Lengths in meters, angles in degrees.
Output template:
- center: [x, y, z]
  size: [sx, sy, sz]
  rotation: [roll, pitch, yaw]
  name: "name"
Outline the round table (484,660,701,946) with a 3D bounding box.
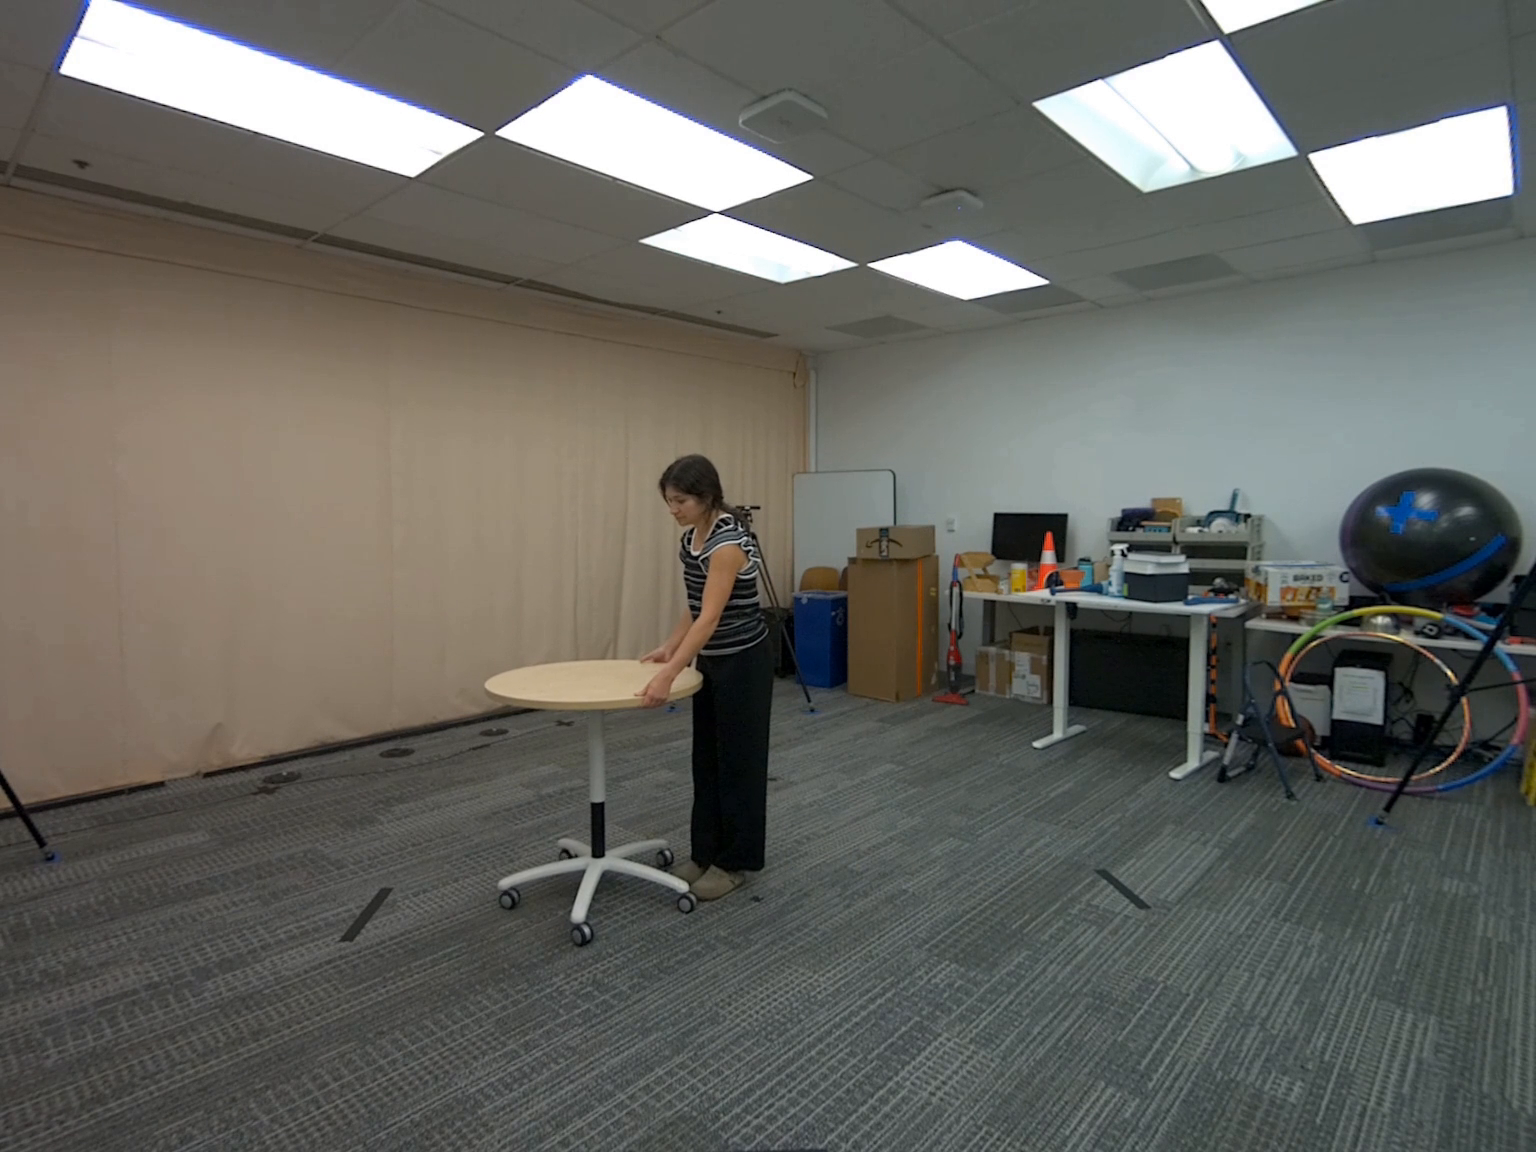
- center: [-0.615, 0.755, 3.028]
  size: [0.784, 0.785, 0.787]
  rotation: [0, 3, -2]
  name: "round table"
